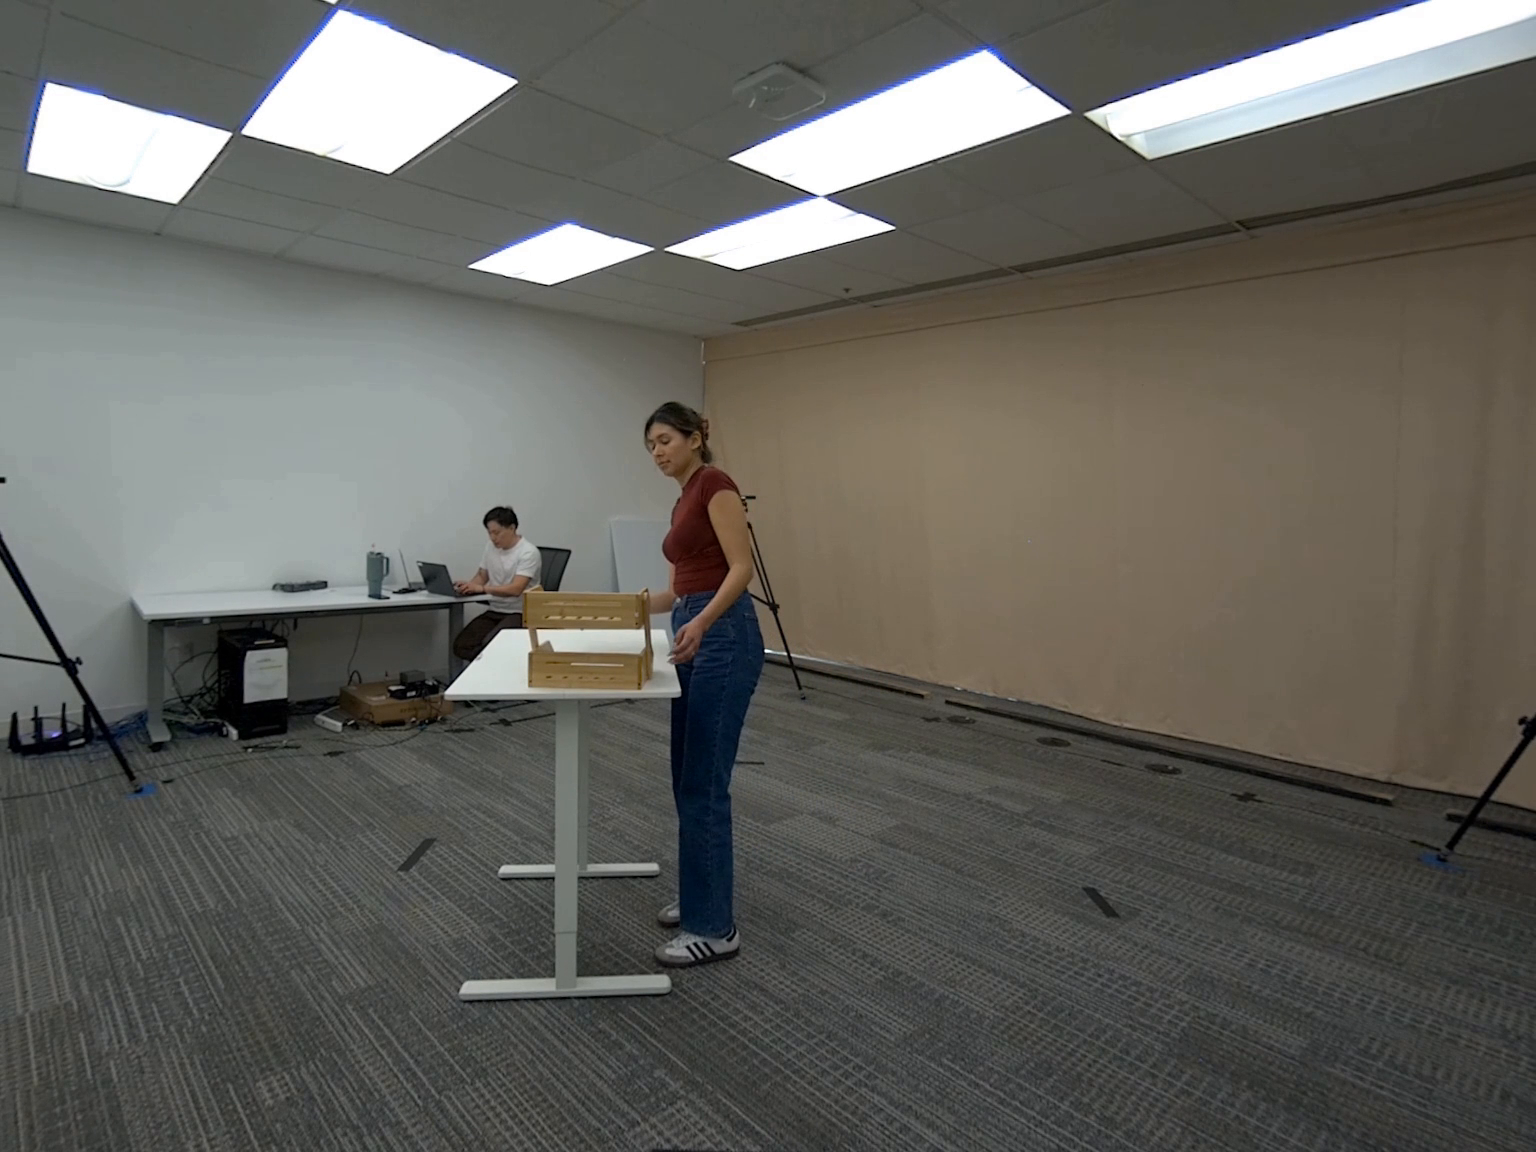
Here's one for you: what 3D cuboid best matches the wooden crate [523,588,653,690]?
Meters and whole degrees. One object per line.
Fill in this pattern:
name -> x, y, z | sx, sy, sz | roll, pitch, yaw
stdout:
wooden crate -> -0.489, 0.158, 2.307 | 0.325, 0.272, 0.302 | 1, 4, 1
